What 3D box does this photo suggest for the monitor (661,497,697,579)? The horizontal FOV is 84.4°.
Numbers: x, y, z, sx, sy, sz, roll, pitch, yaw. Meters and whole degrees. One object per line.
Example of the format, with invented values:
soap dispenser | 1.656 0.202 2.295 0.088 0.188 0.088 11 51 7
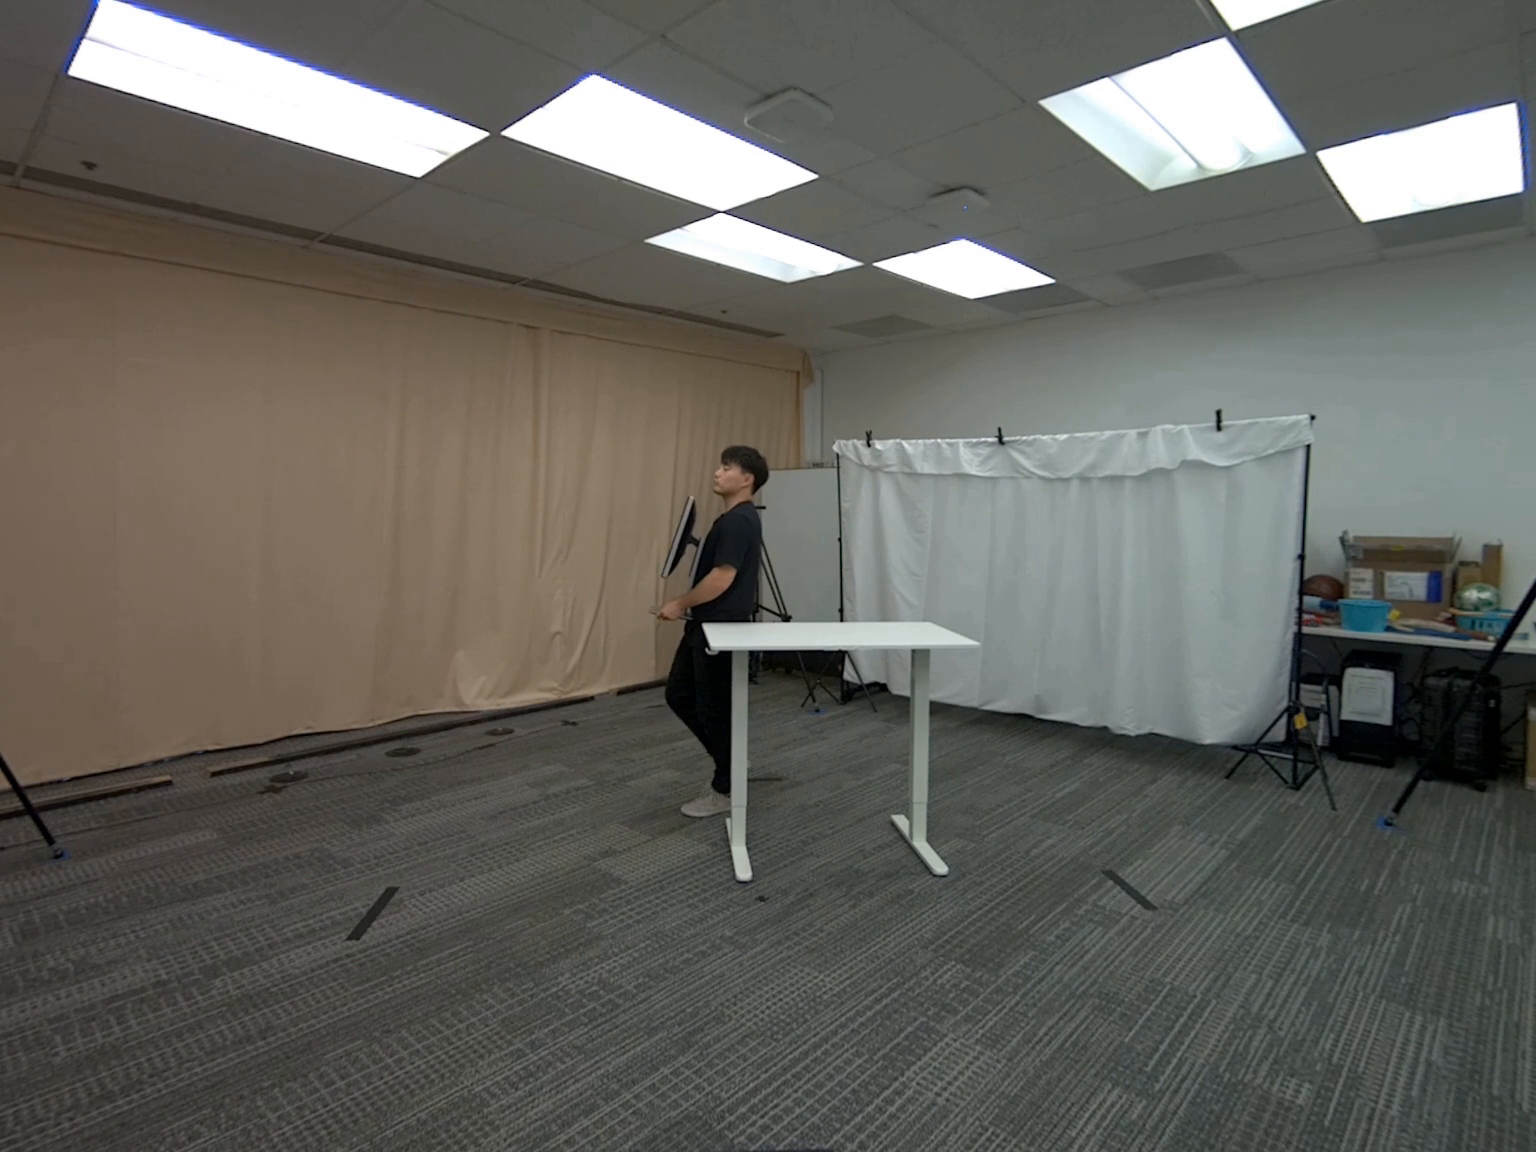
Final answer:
monitor | -0.381 -0.087 3.829 0.186 0.522 0.542 8 2 -6
